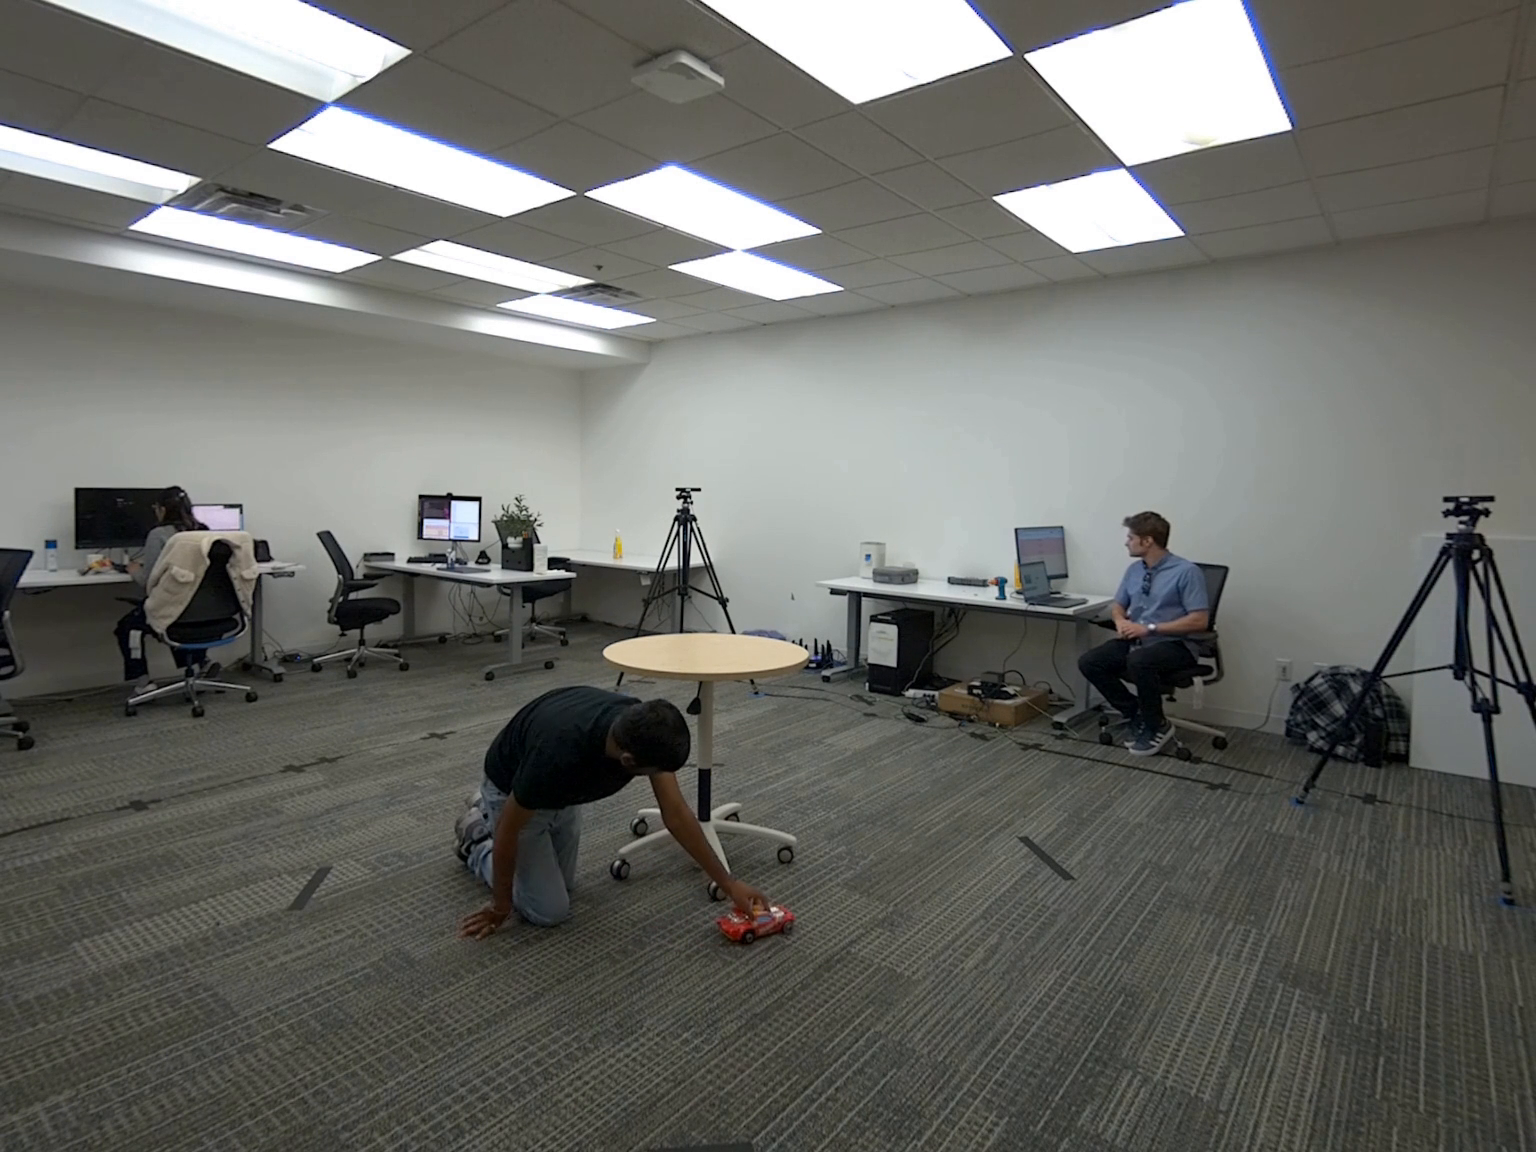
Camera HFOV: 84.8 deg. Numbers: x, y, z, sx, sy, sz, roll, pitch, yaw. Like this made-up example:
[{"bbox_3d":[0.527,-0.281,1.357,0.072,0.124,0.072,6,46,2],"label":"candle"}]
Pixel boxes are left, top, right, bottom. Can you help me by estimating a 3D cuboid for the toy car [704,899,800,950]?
[{"bbox_3d":[-0.052,1.091,2.644,0.247,0.083,0.134,10,1,-28],"label":"toy car"}]
